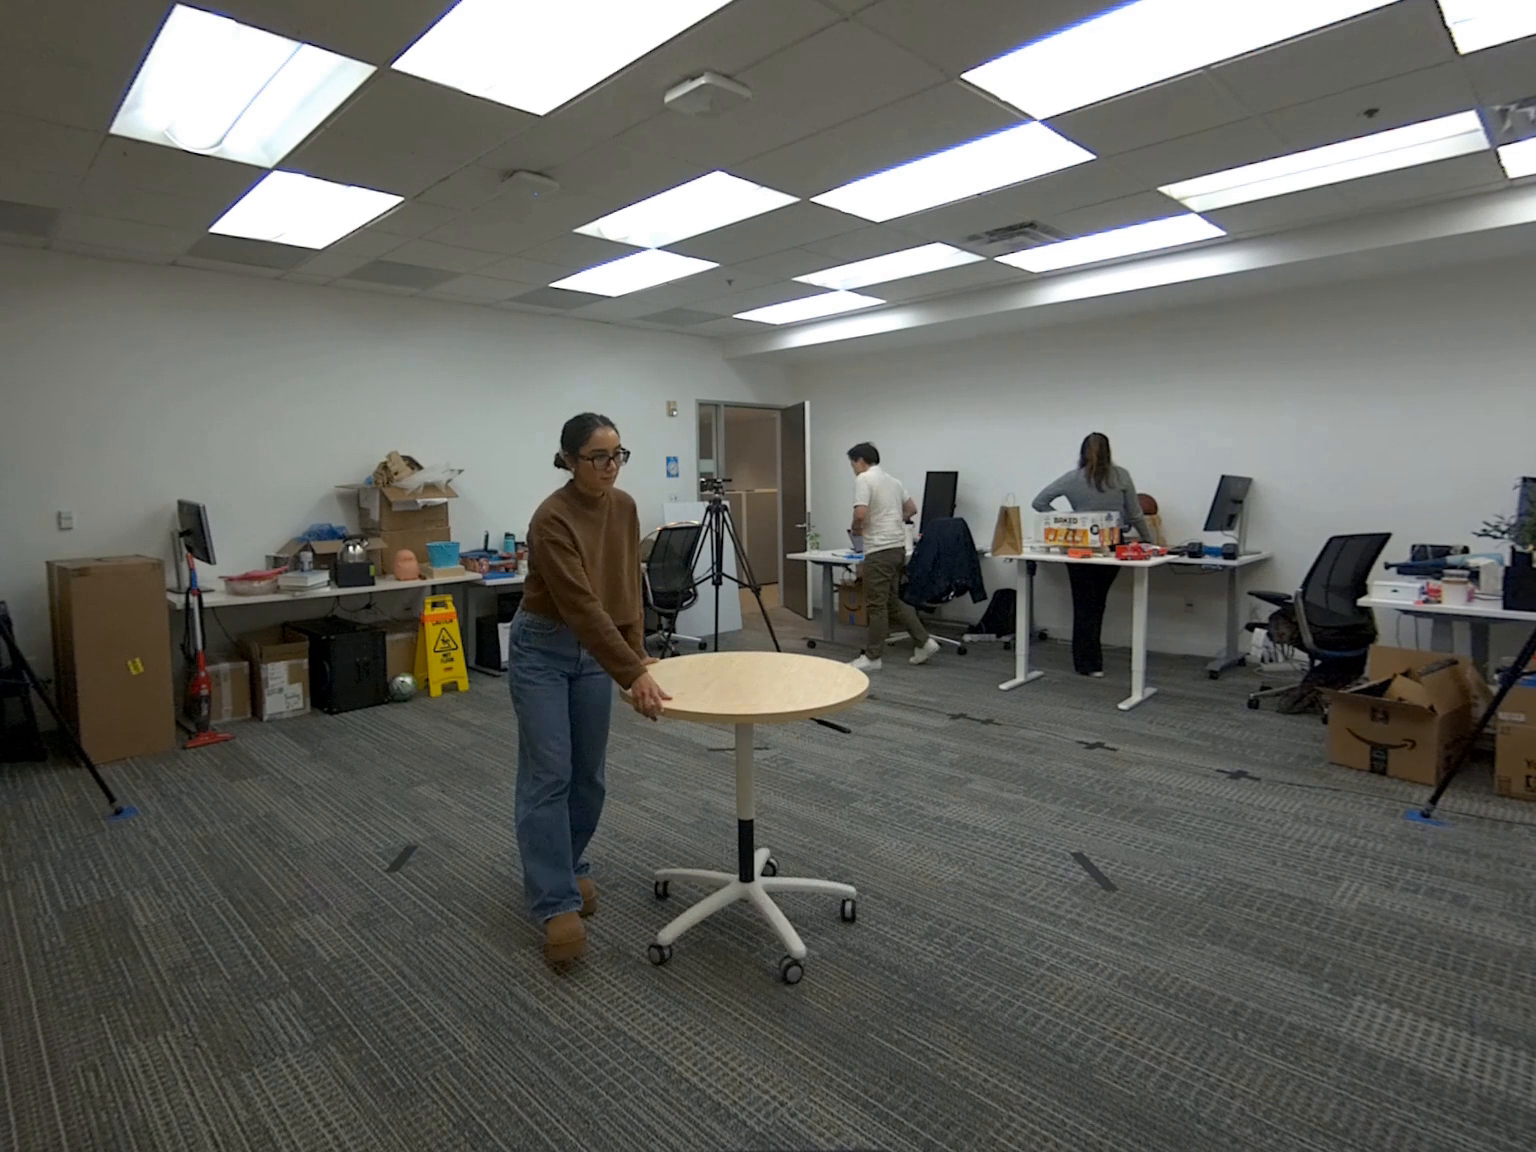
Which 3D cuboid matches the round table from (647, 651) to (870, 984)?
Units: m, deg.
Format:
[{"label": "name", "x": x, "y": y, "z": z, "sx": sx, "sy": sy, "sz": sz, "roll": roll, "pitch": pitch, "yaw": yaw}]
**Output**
[{"label": "round table", "x": -0.056, "y": 0.700, "z": 2.662, "sx": 0.784, "sy": 0.783, "sz": 0.790, "roll": -1, "pitch": 6, "yaw": -2}]
